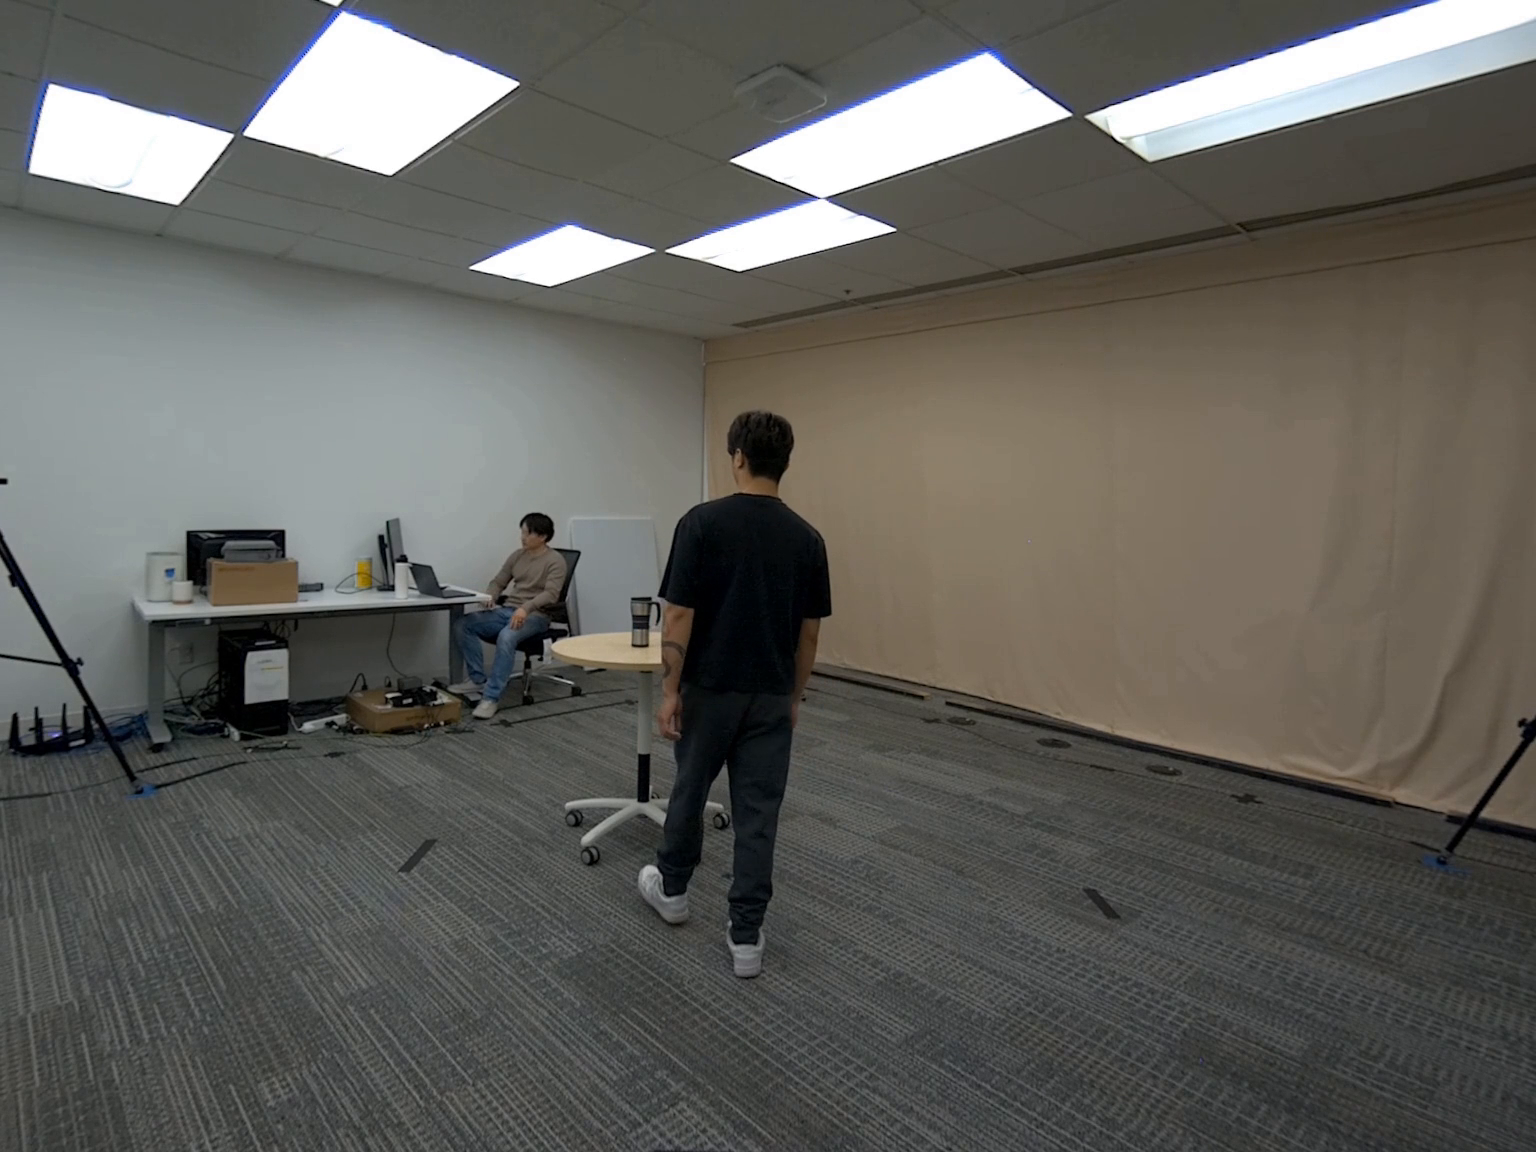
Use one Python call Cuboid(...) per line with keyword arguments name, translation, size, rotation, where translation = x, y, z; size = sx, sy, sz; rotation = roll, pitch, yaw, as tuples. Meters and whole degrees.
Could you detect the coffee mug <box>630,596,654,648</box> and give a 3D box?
Cuboid(name="coffee mug", translation=(-0.515, 0.188, 3.407), size=(0.086, 0.203, 0.125), rotation=(4, -2, -36))
